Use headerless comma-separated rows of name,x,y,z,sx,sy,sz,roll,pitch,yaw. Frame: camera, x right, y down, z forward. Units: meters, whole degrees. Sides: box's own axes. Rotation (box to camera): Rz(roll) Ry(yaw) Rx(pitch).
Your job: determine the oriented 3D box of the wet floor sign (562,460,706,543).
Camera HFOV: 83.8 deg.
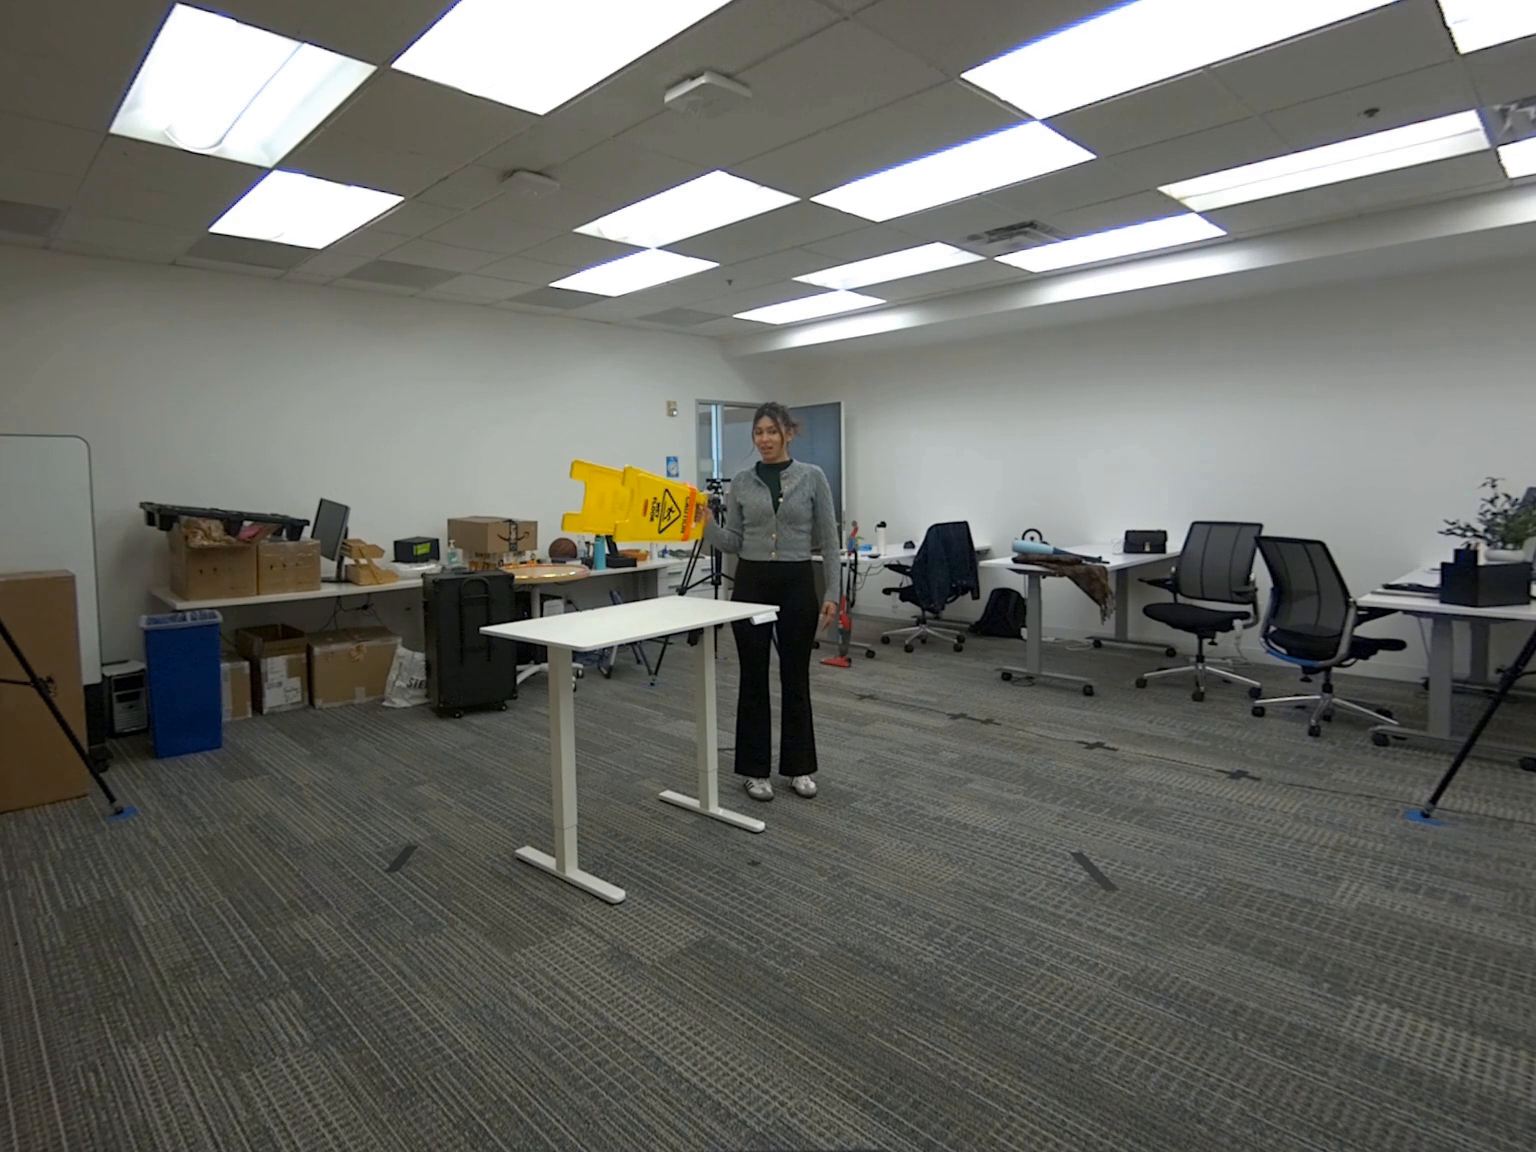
wet floor sign,-0.462,-0.264,3.405,0.299,0.282,0.626,10,3,36
